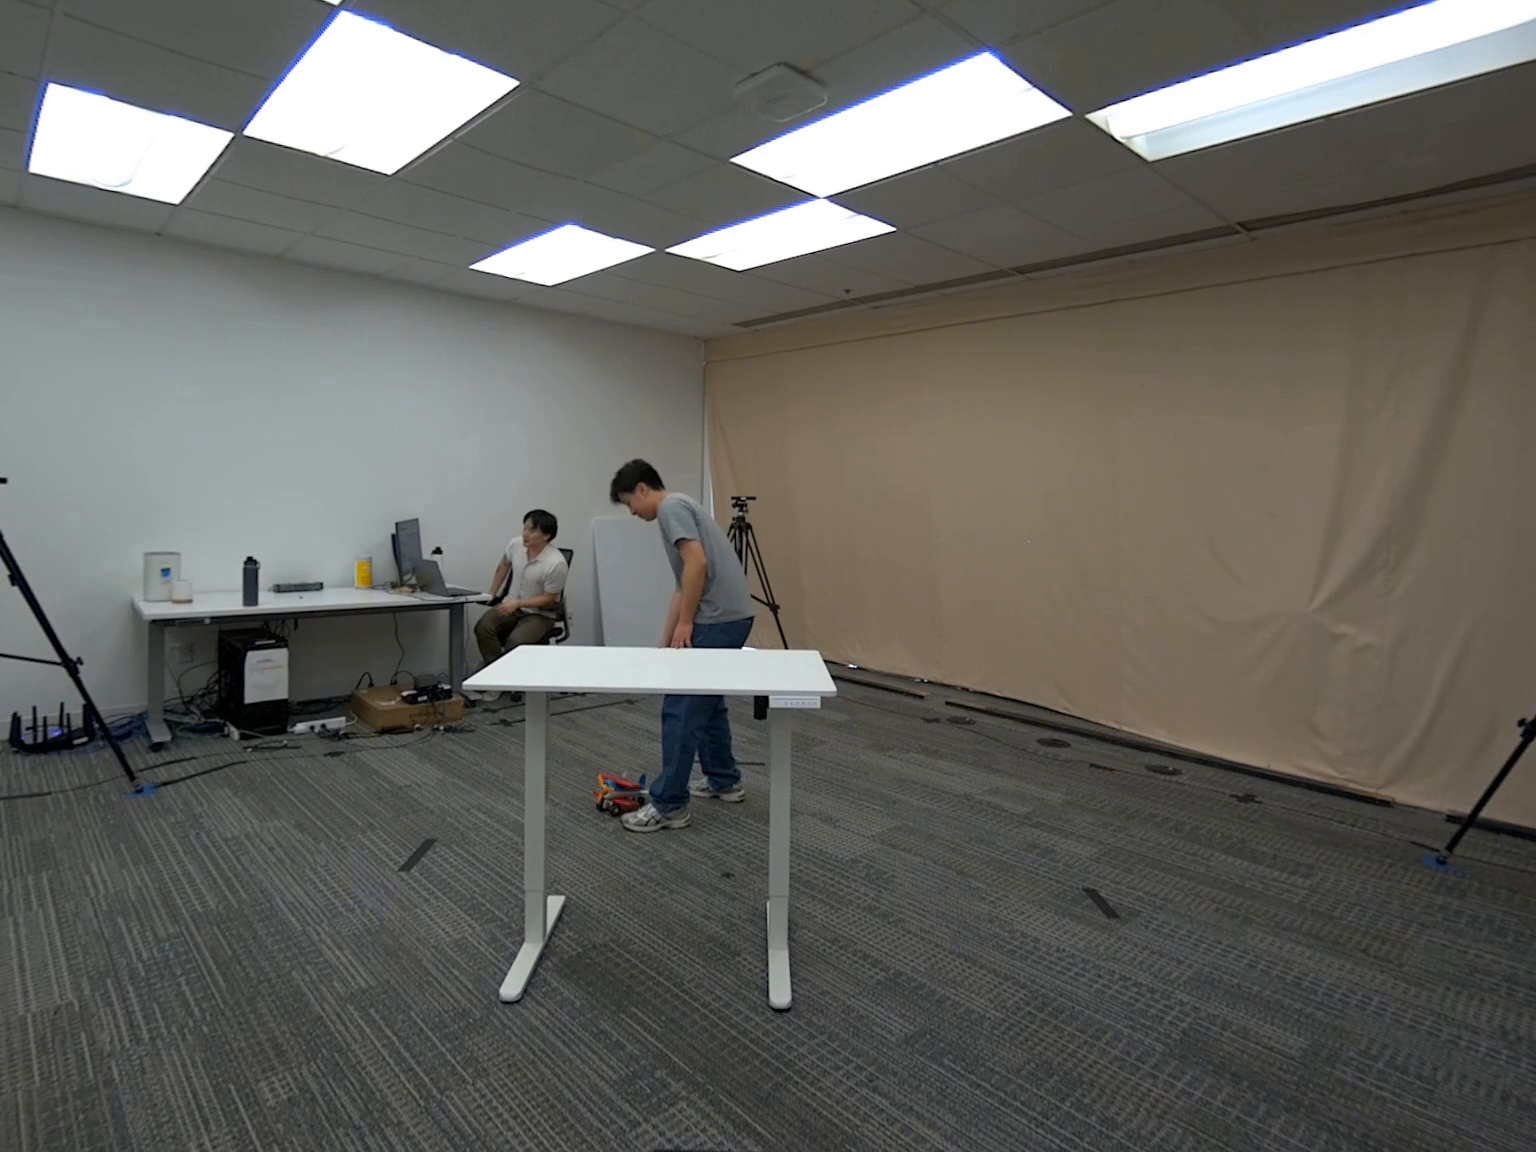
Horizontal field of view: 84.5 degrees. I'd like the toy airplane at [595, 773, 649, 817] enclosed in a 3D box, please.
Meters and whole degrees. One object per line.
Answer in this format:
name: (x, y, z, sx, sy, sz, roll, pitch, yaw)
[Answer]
toy airplane: (-0.672, 0.963, 3.761, 0.253, 0.156, 0.257, 2, 6, 11)
